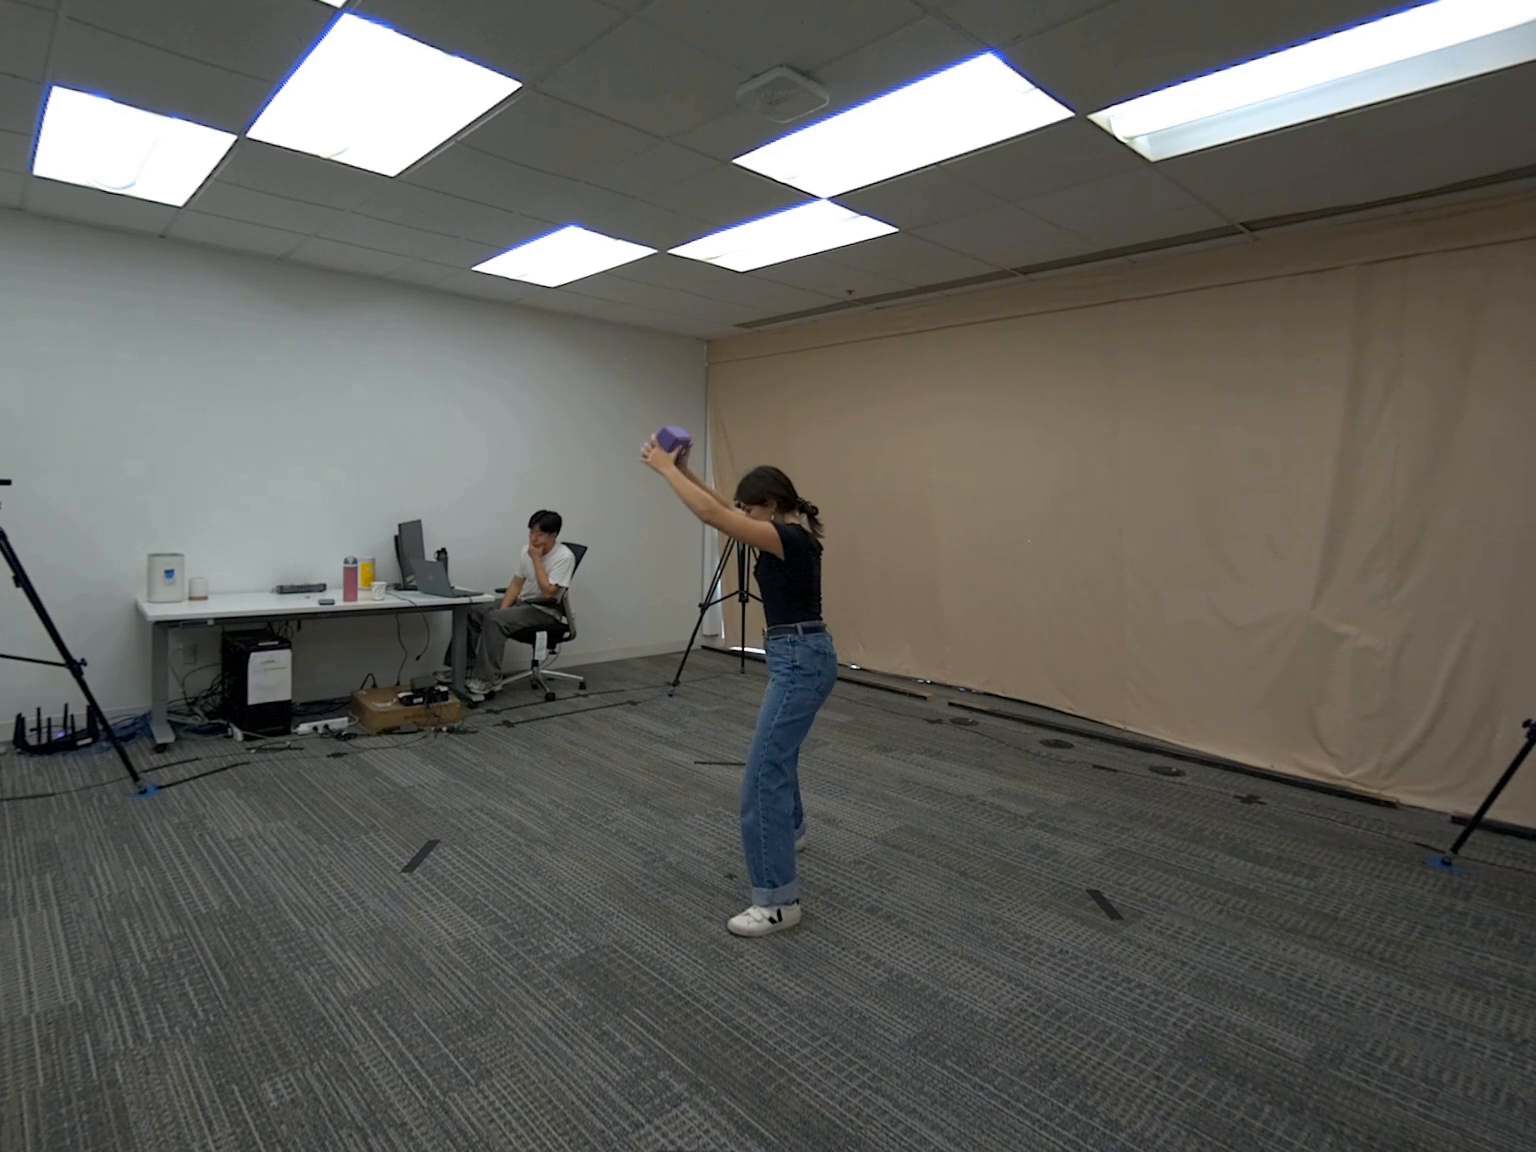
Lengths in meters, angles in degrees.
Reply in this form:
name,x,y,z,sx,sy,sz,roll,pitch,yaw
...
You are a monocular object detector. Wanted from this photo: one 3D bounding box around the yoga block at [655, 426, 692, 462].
name,x,y,z,sx,sy,sz,roll,pitch,yaw
yoga block,-0.377,-0.461,3.091,0.077,0.148,0.229,30,12,3
